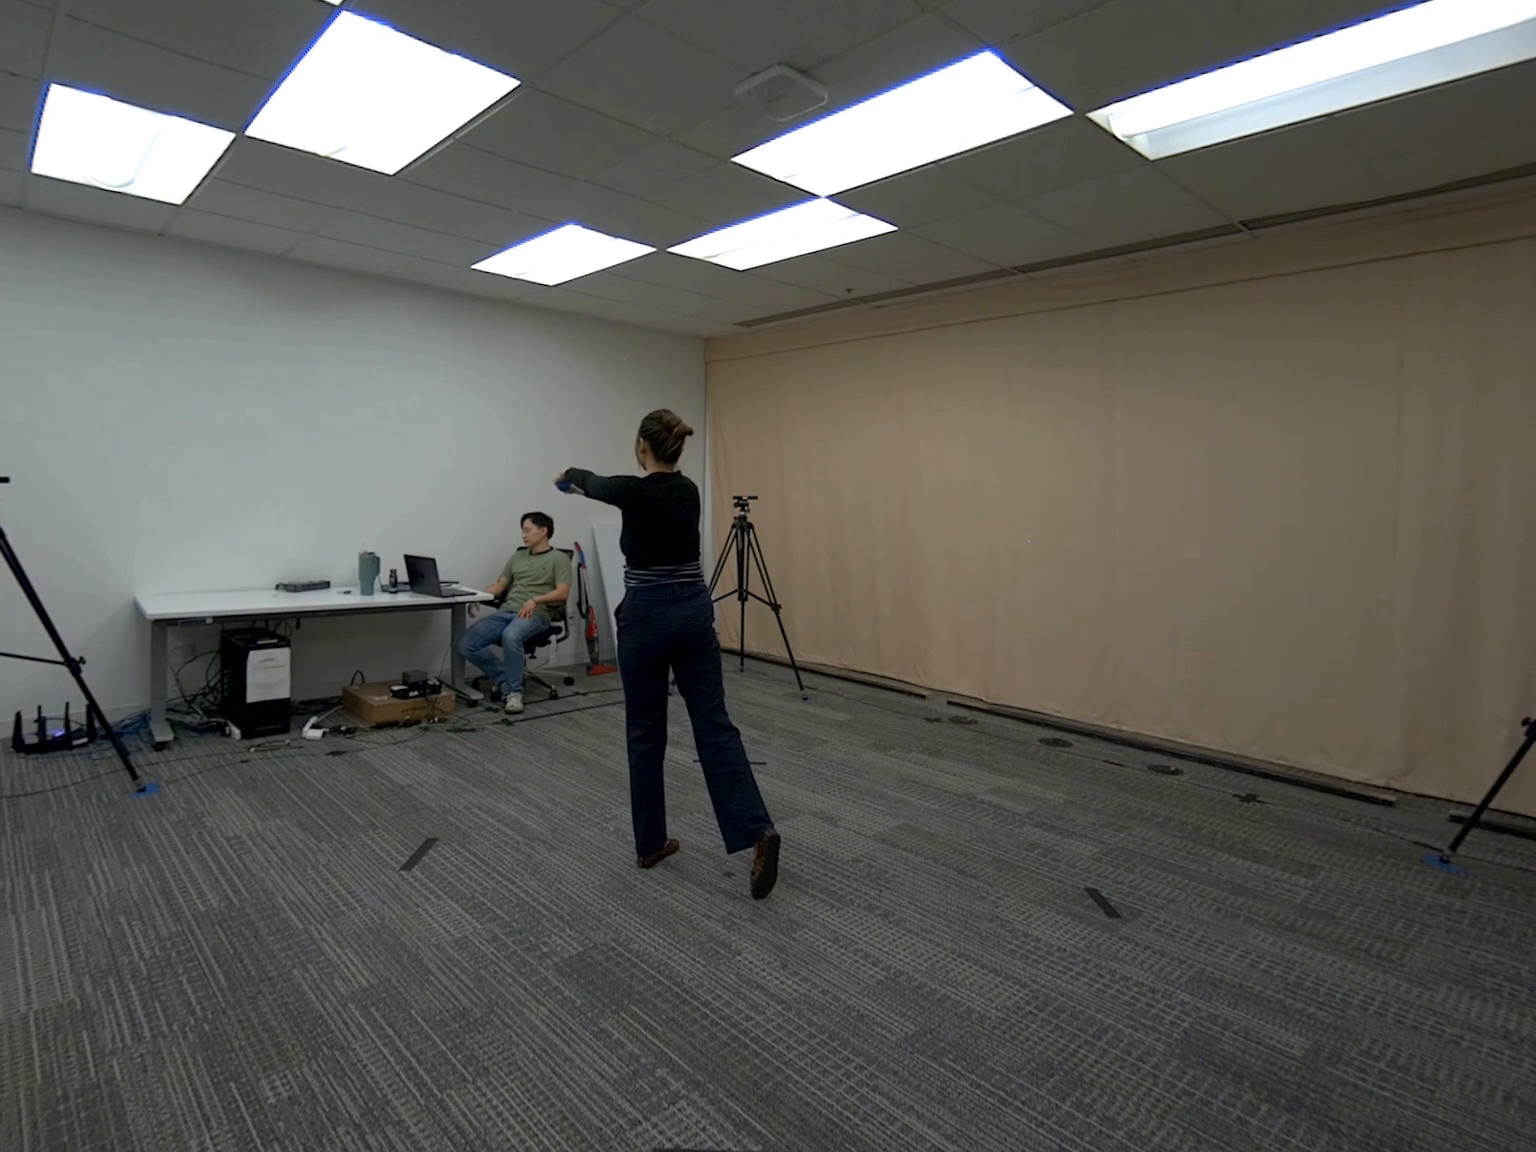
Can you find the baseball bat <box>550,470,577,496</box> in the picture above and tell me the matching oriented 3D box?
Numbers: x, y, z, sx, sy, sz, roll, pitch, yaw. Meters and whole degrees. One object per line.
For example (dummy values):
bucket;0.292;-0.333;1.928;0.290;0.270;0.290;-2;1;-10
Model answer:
baseball bat;-0.890;-0.420;3.759;0.088;0.088;0.548;1;8;-7
